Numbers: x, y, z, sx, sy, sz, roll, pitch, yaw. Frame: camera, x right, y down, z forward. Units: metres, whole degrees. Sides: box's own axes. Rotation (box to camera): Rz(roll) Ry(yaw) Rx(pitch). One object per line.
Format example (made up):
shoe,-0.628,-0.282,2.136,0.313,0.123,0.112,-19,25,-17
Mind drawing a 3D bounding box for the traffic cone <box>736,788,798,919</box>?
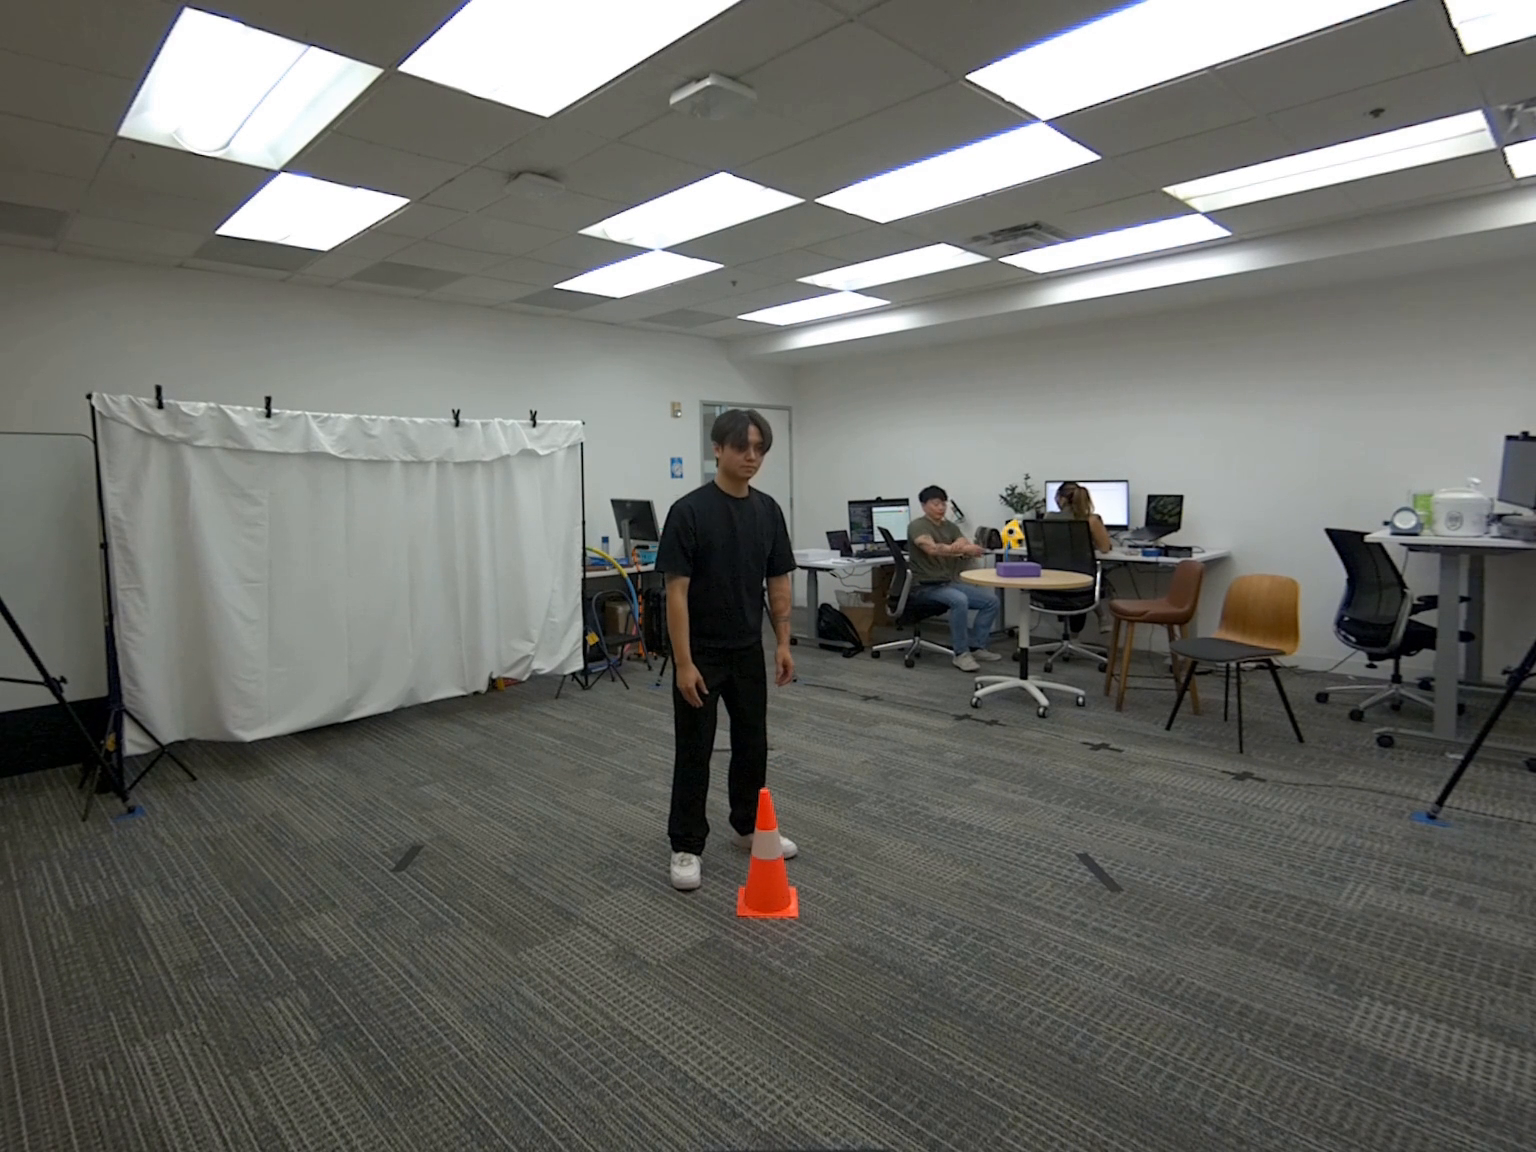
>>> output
traffic cone,0.008,0.897,2.813,0.206,0.381,0.204,1,6,3
